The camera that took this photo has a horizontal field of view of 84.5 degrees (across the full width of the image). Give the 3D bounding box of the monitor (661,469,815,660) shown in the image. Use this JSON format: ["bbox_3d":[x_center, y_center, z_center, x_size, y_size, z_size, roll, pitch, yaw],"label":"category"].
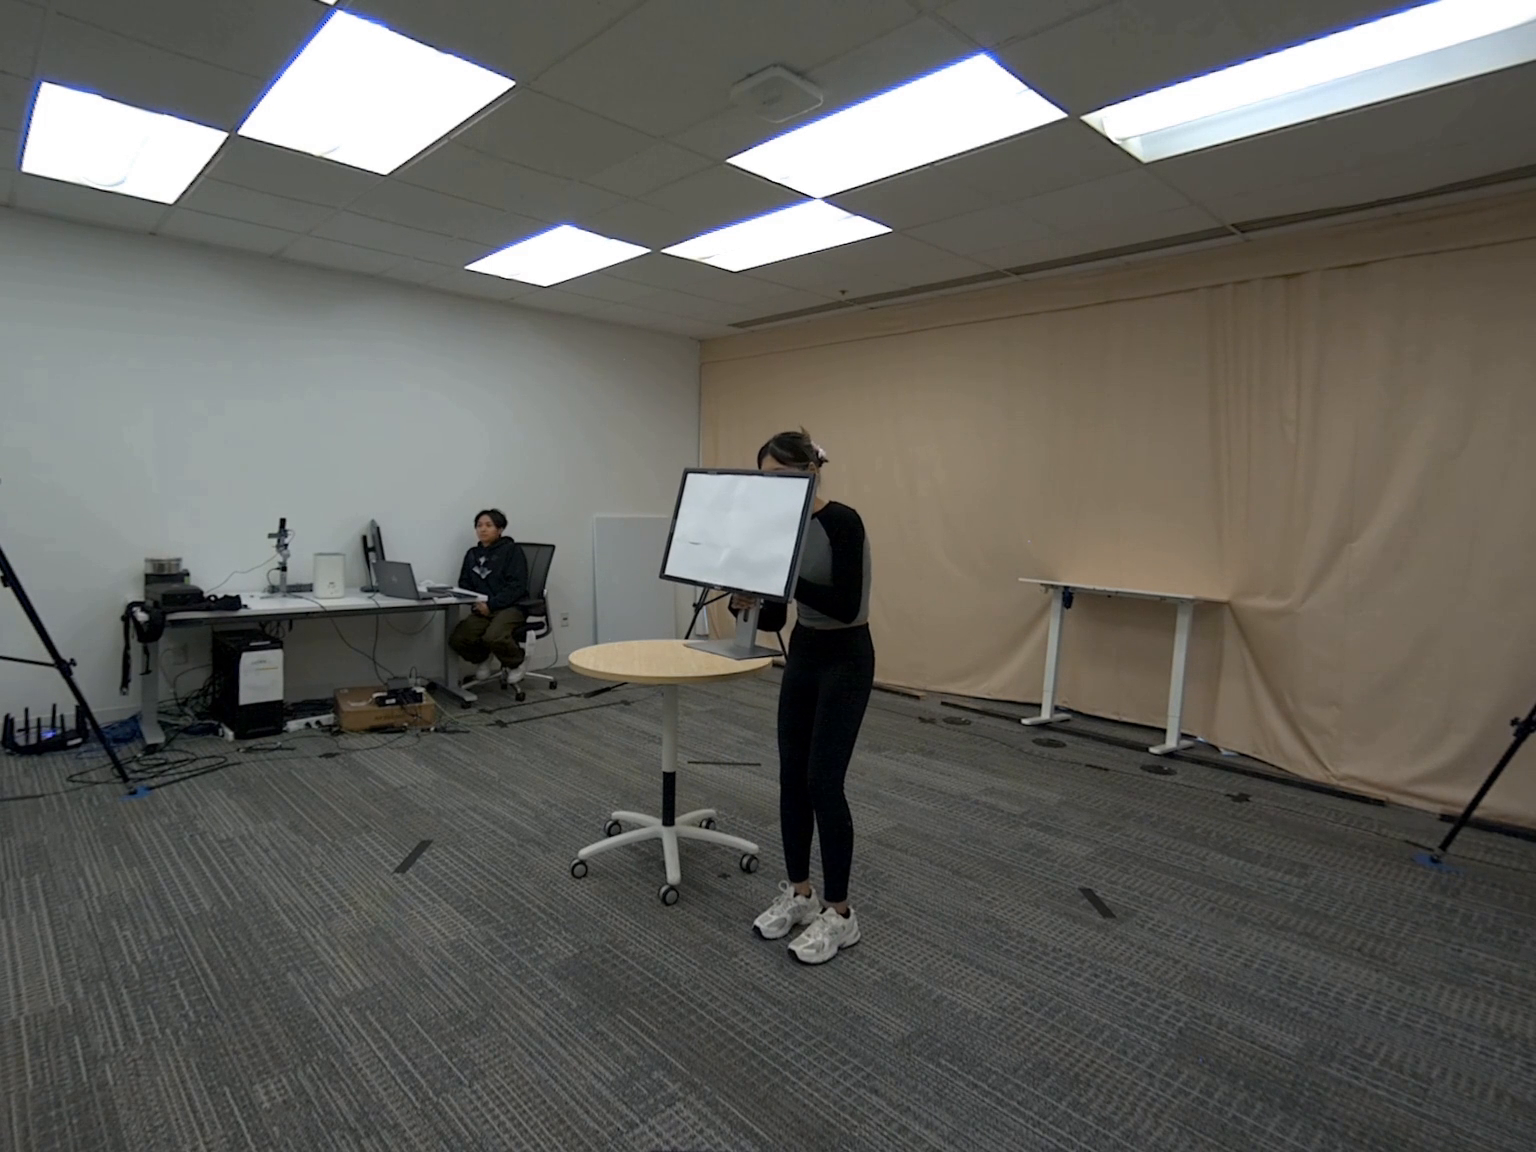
[{"bbox_3d":[-0.088,-0.040,2.487,0.553,0.521,0.182,7,4,43],"label":"monitor"}]
